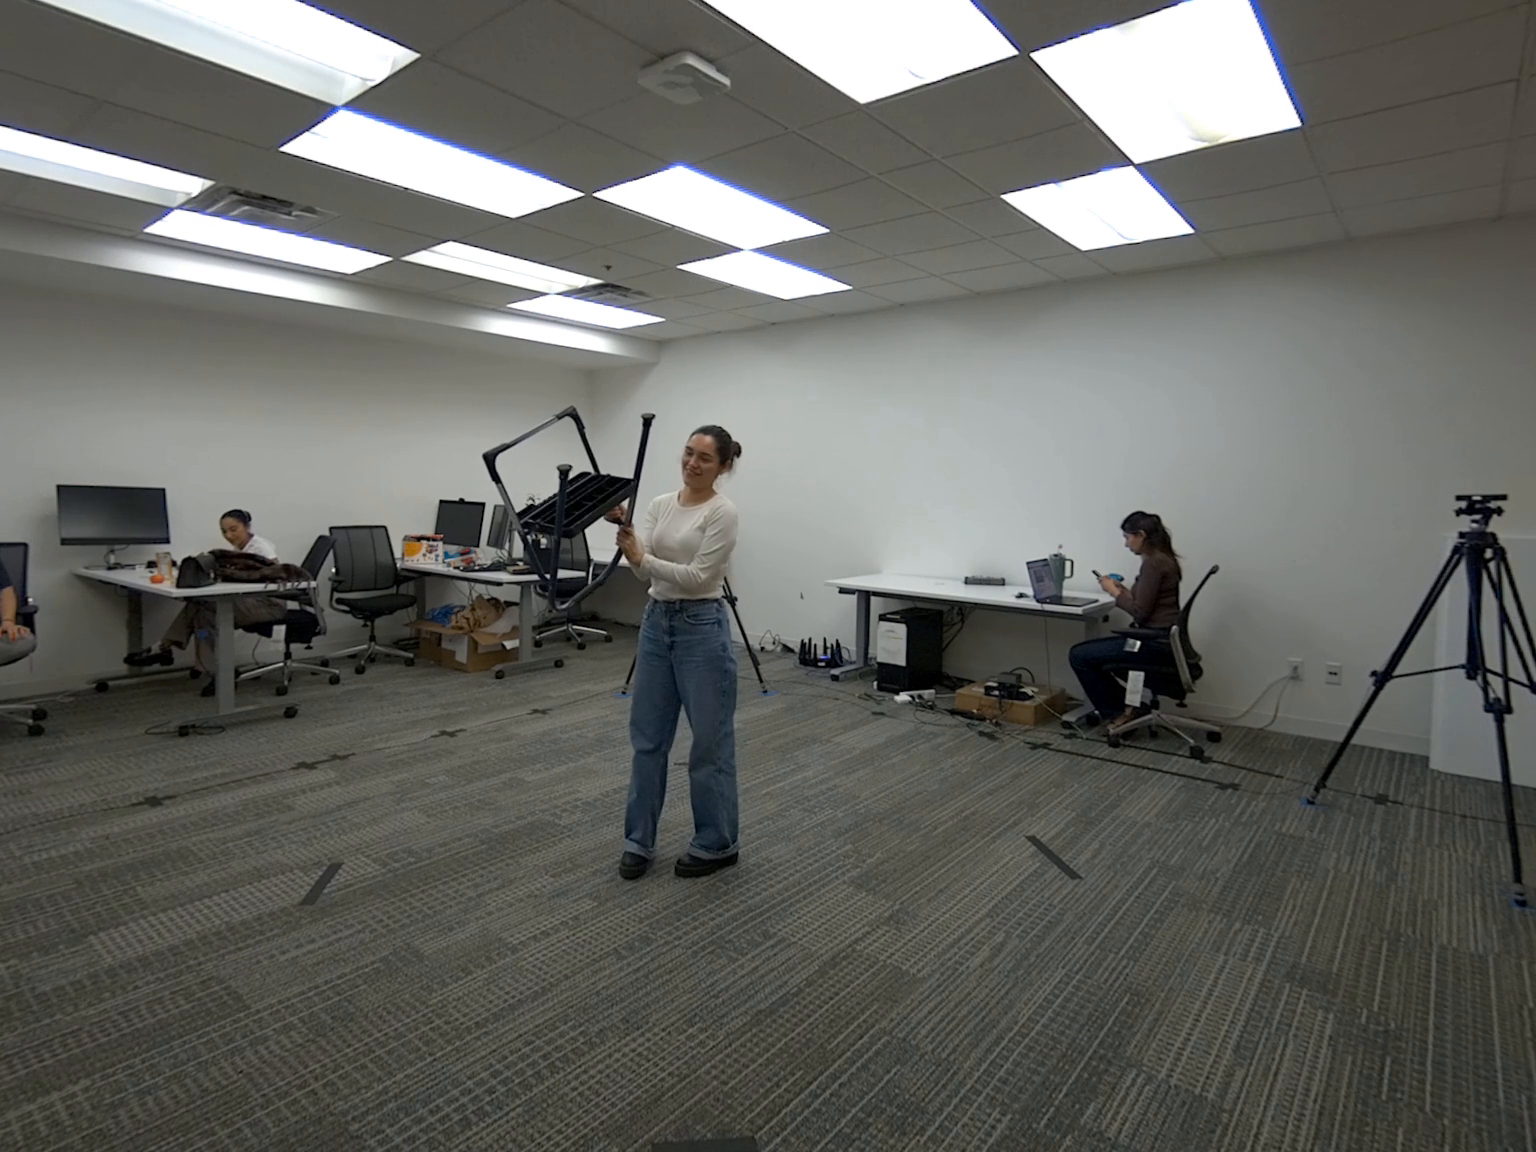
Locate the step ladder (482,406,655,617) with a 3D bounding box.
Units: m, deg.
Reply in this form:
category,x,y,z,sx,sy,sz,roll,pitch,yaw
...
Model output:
category,x,y,z,sx,sy,sz,roll,pitch,yaw
step ladder,-0.592,-0.176,2.725,0.361,0.590,0.428,14,35,29
